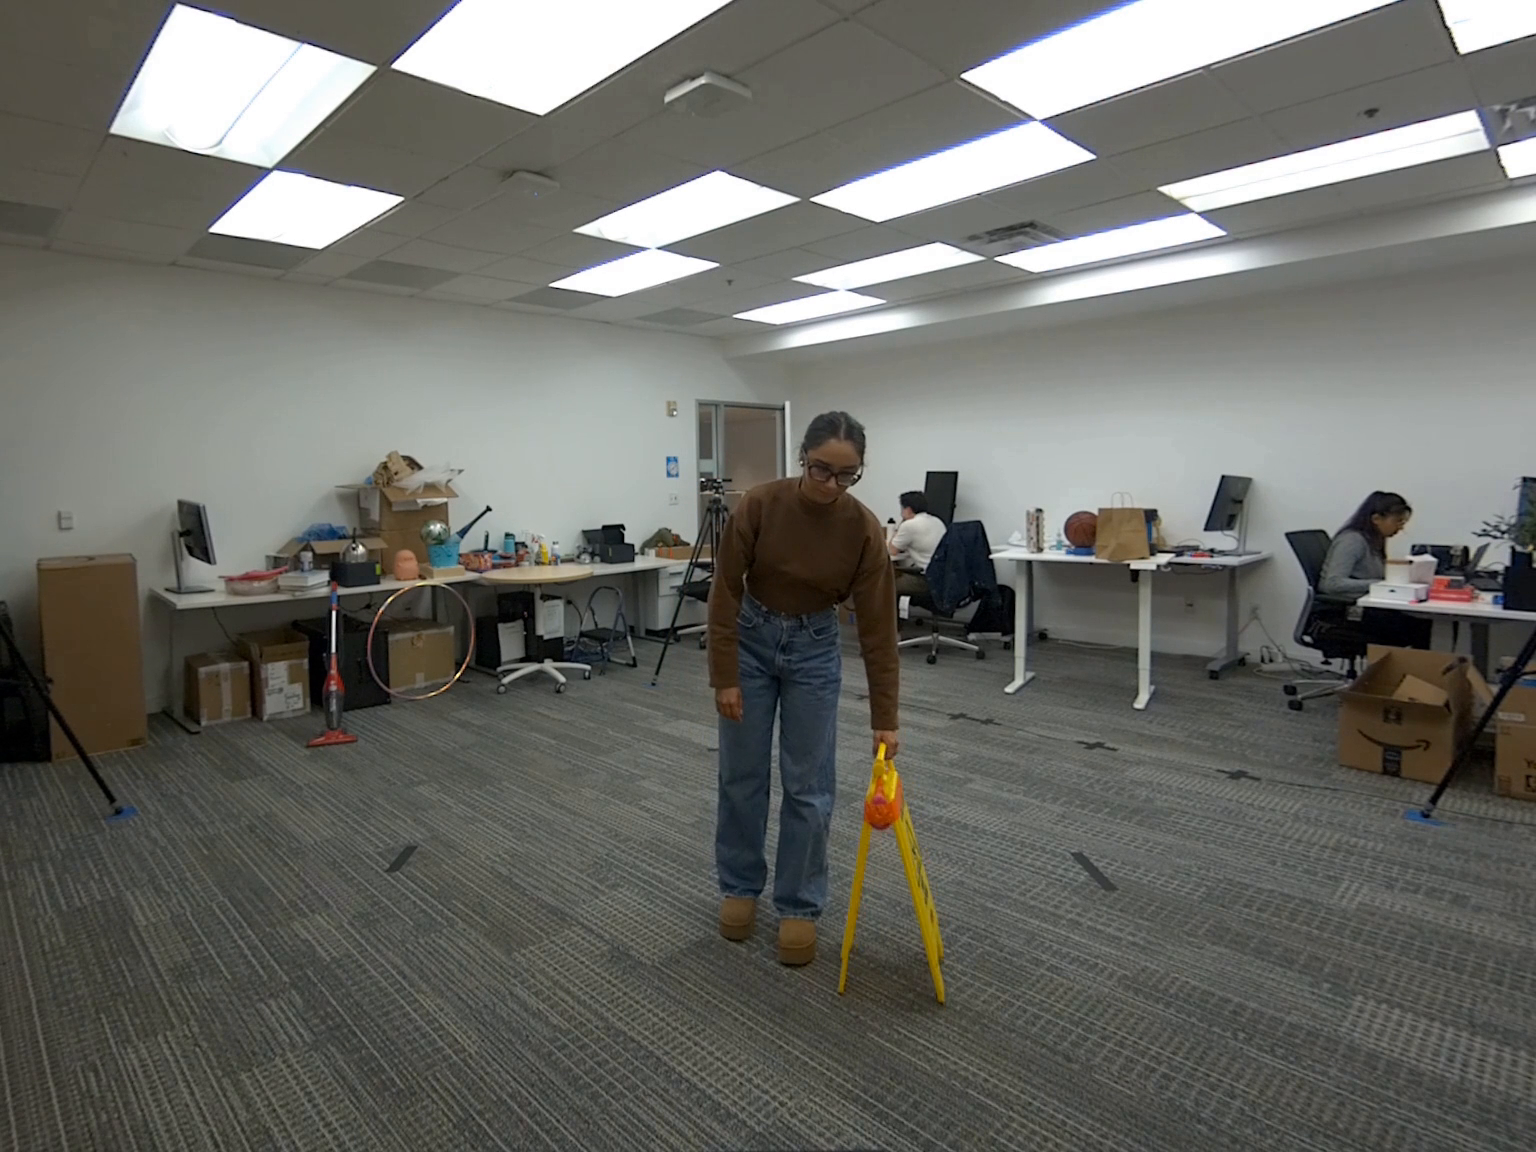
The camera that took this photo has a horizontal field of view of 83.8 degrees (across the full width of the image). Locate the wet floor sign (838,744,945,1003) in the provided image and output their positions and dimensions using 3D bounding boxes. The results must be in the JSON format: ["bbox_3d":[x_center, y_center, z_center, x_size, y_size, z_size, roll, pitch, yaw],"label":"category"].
[{"bbox_3d":[0.335,0.783,2.380,0.294,0.642,0.280,-2,6,14],"label":"wet floor sign"}]
